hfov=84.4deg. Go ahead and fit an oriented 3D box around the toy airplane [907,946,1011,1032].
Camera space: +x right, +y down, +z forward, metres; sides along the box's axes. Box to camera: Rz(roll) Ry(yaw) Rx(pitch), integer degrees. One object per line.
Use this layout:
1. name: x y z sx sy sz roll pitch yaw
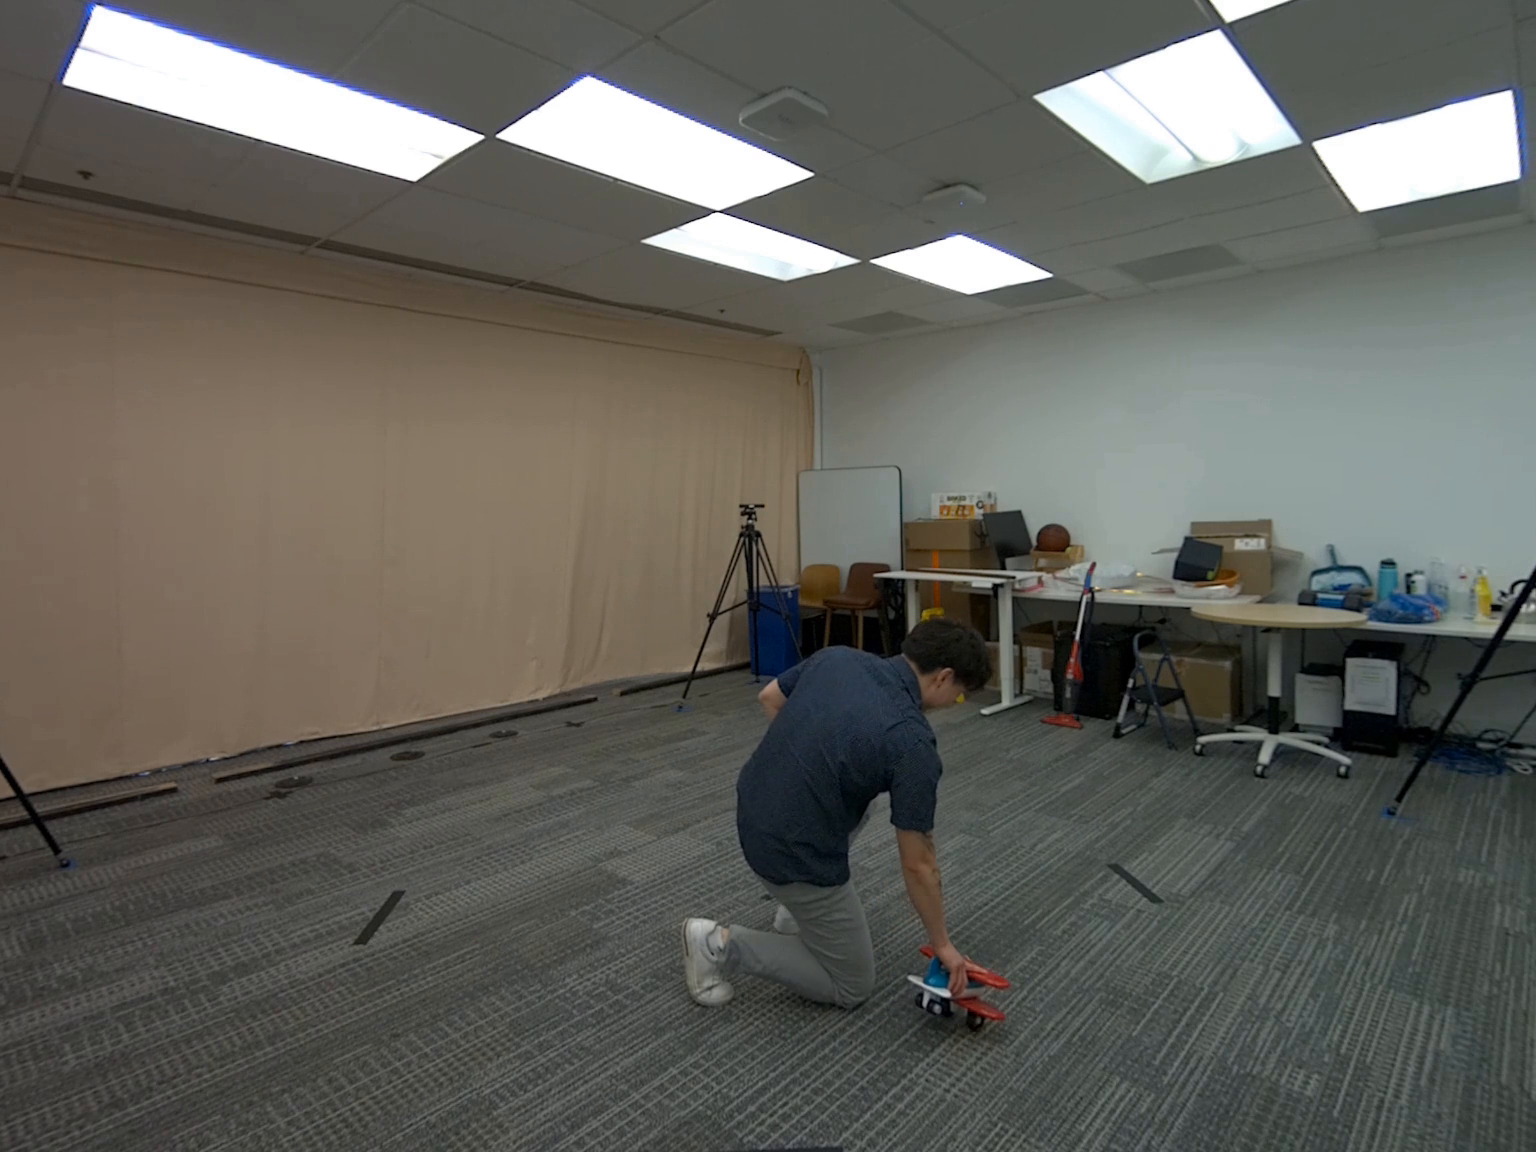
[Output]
1. toy airplane: 0.506 1.093 2.203 0.257 0.157 0.252 17 -19 21
